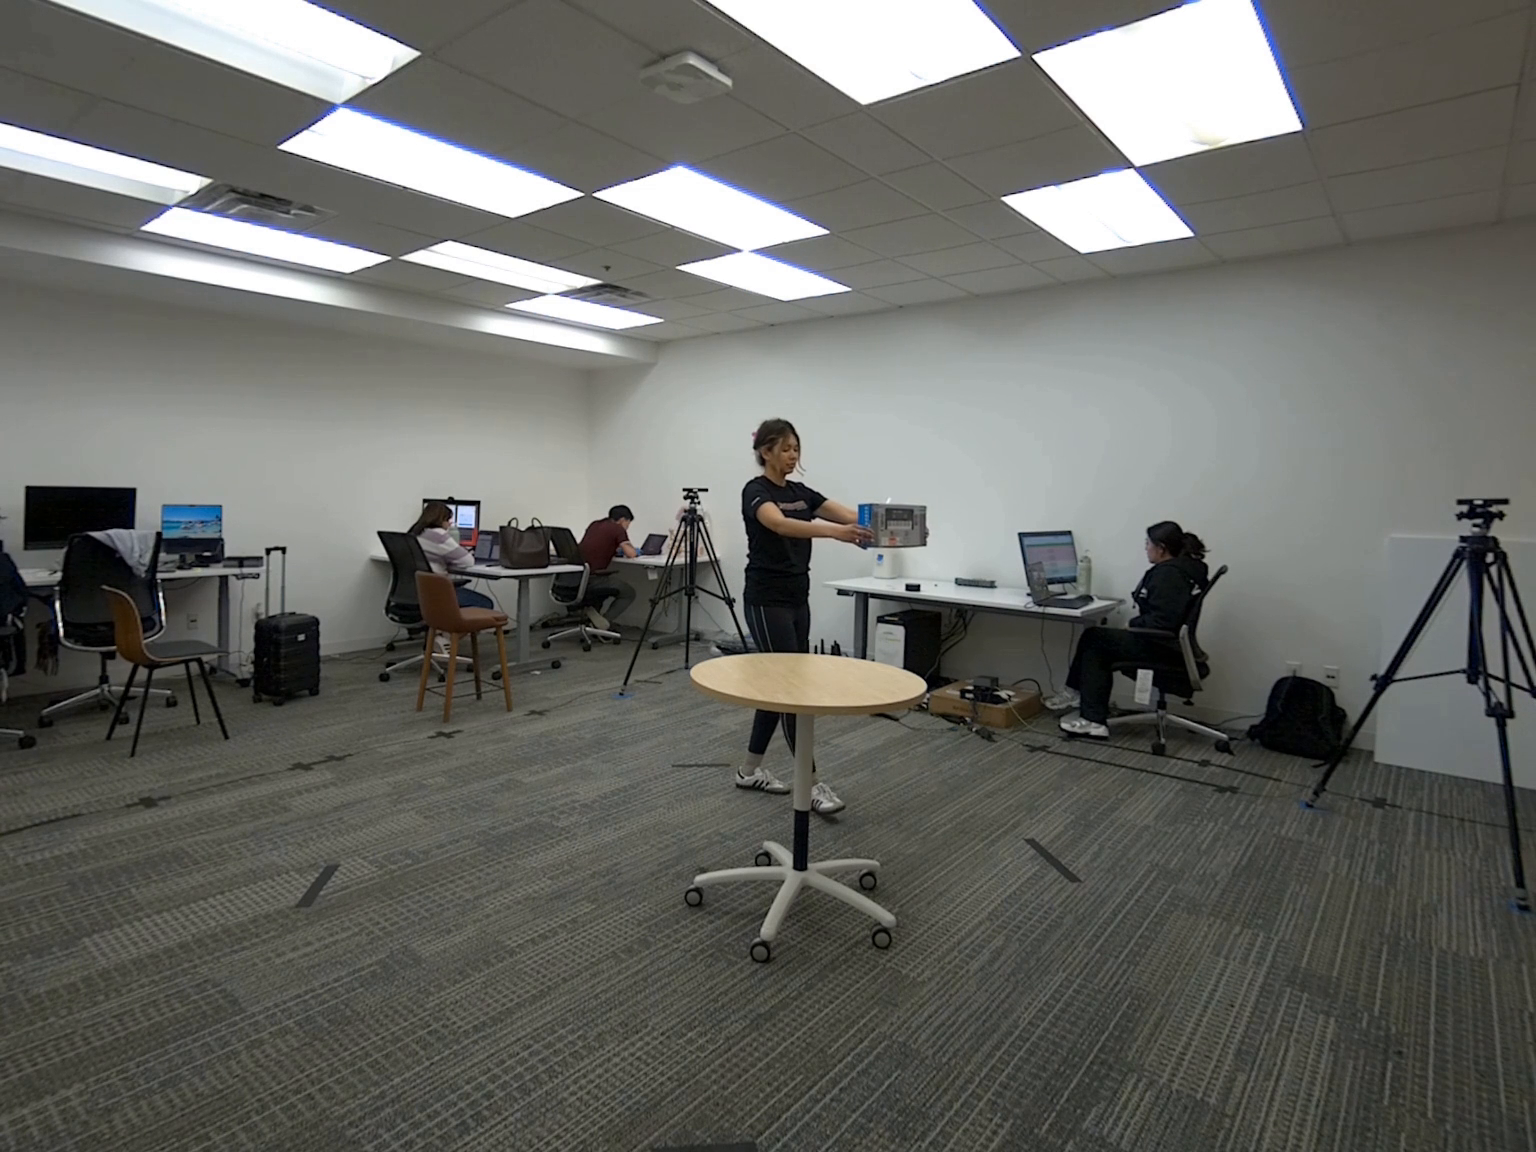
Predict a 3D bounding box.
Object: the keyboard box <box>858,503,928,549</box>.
[{"bbox_3d":[0.504,-0.207,3.462,0.061,0.176,0.423,1,2,42],"label":"keyboard box"}]
